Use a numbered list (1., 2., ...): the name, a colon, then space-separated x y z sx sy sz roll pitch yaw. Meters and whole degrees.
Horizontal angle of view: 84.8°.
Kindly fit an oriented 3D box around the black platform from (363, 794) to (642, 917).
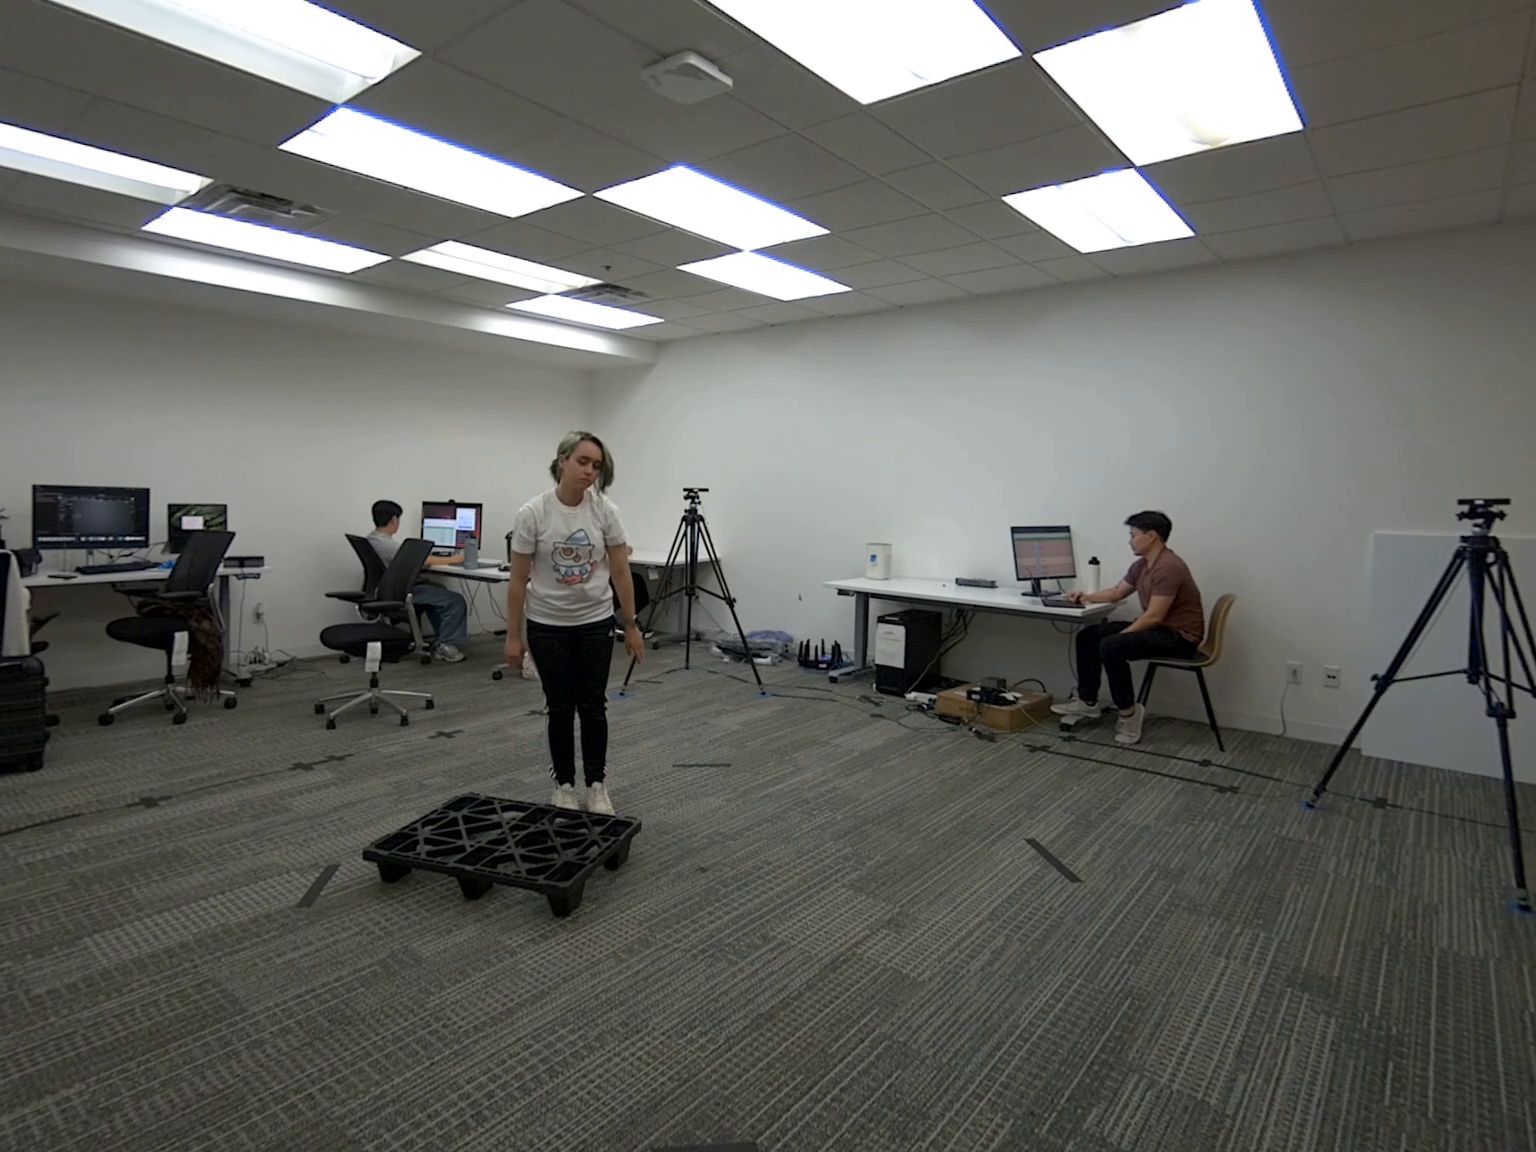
1. black platform: -0.951 0.989 3.080 0.821 0.143 0.596 3 6 17
